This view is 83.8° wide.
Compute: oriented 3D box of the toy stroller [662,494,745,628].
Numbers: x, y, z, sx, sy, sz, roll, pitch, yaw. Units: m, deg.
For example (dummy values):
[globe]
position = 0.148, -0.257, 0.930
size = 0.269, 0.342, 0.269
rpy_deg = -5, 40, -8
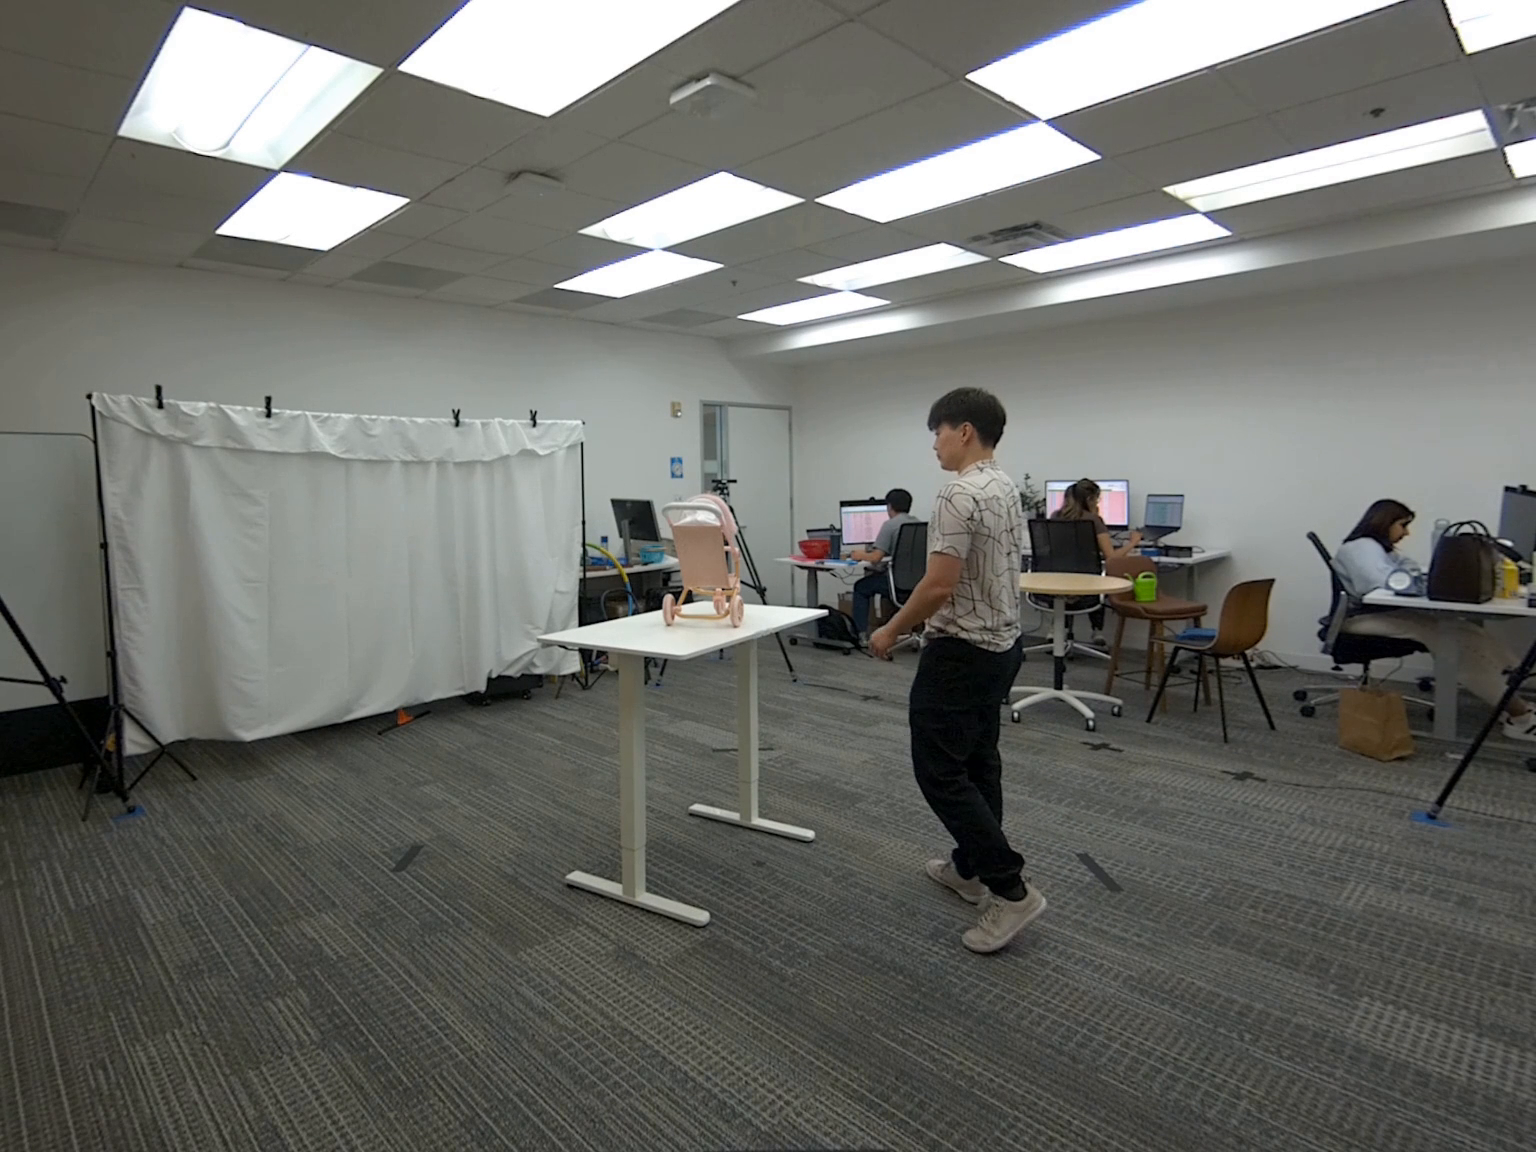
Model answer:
[toy stroller]
position = -0.220, -0.053, 3.086
size = 0.286, 0.526, 0.342
rpy_deg = 1, 19, 15
